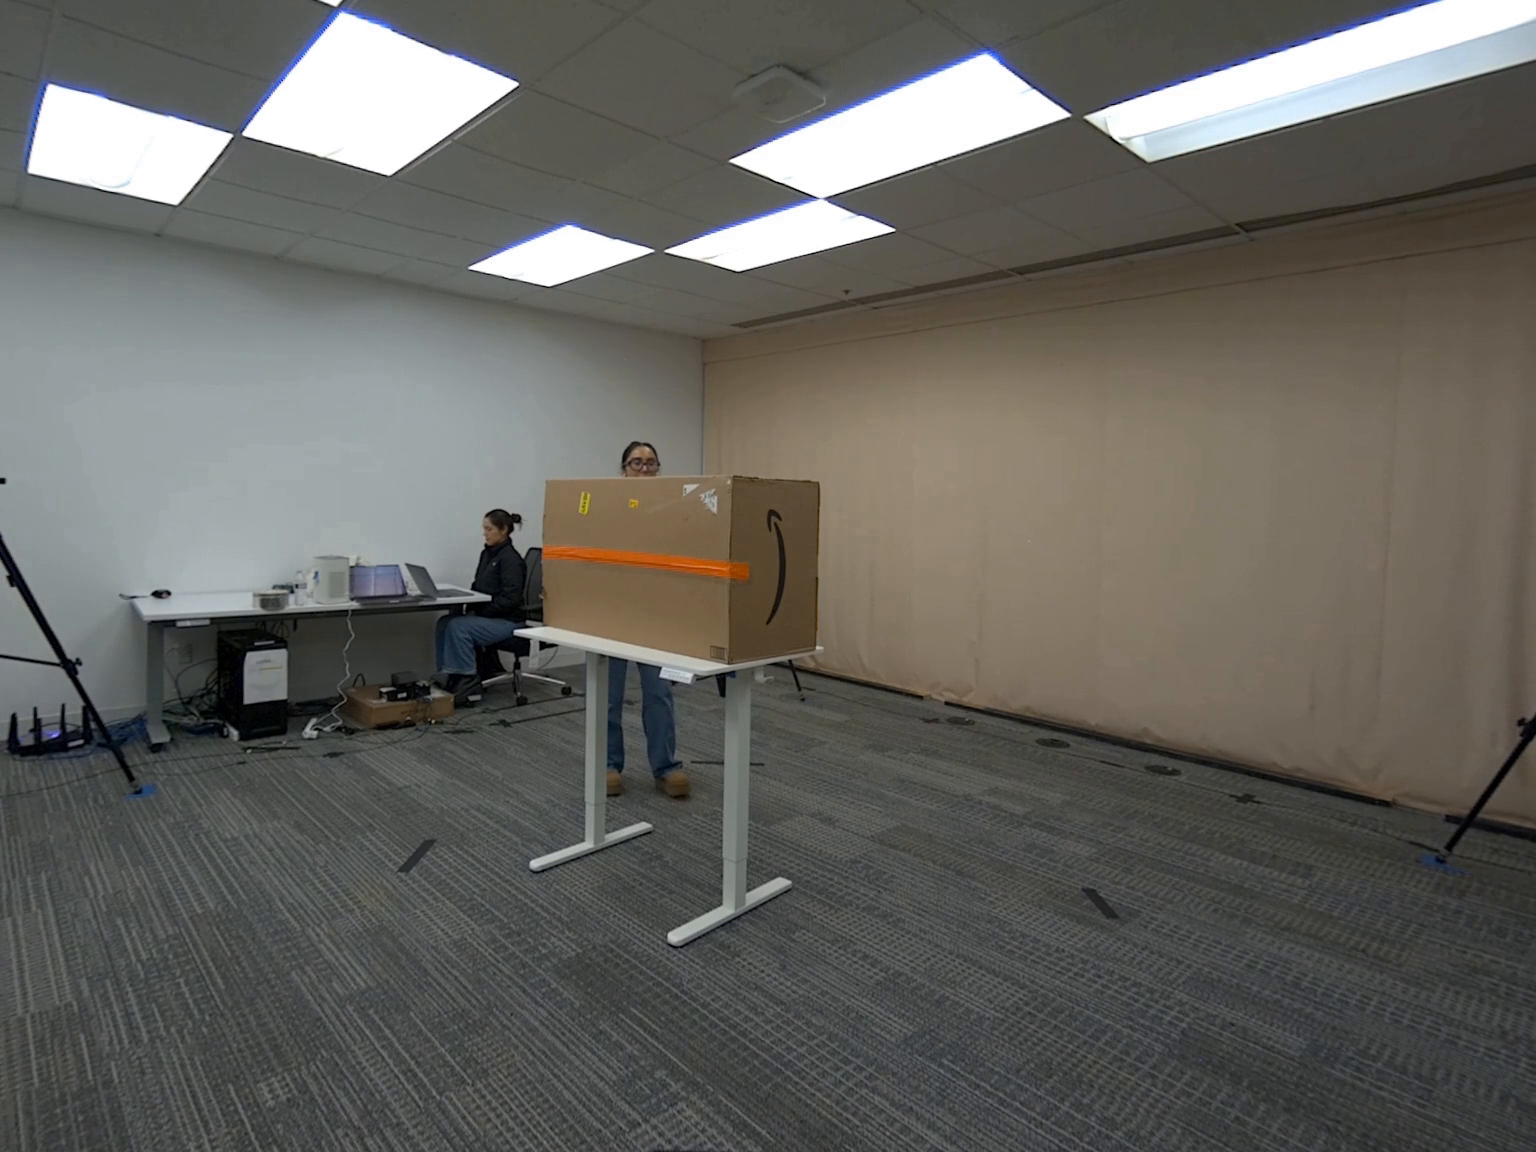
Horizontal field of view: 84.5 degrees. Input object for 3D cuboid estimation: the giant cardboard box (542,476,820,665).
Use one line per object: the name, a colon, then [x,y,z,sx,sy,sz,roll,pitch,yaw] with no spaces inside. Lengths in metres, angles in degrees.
giant cardboard box: [-0.354,-0.058,3.054,1.052,0.576,0.416,5,4,43]
